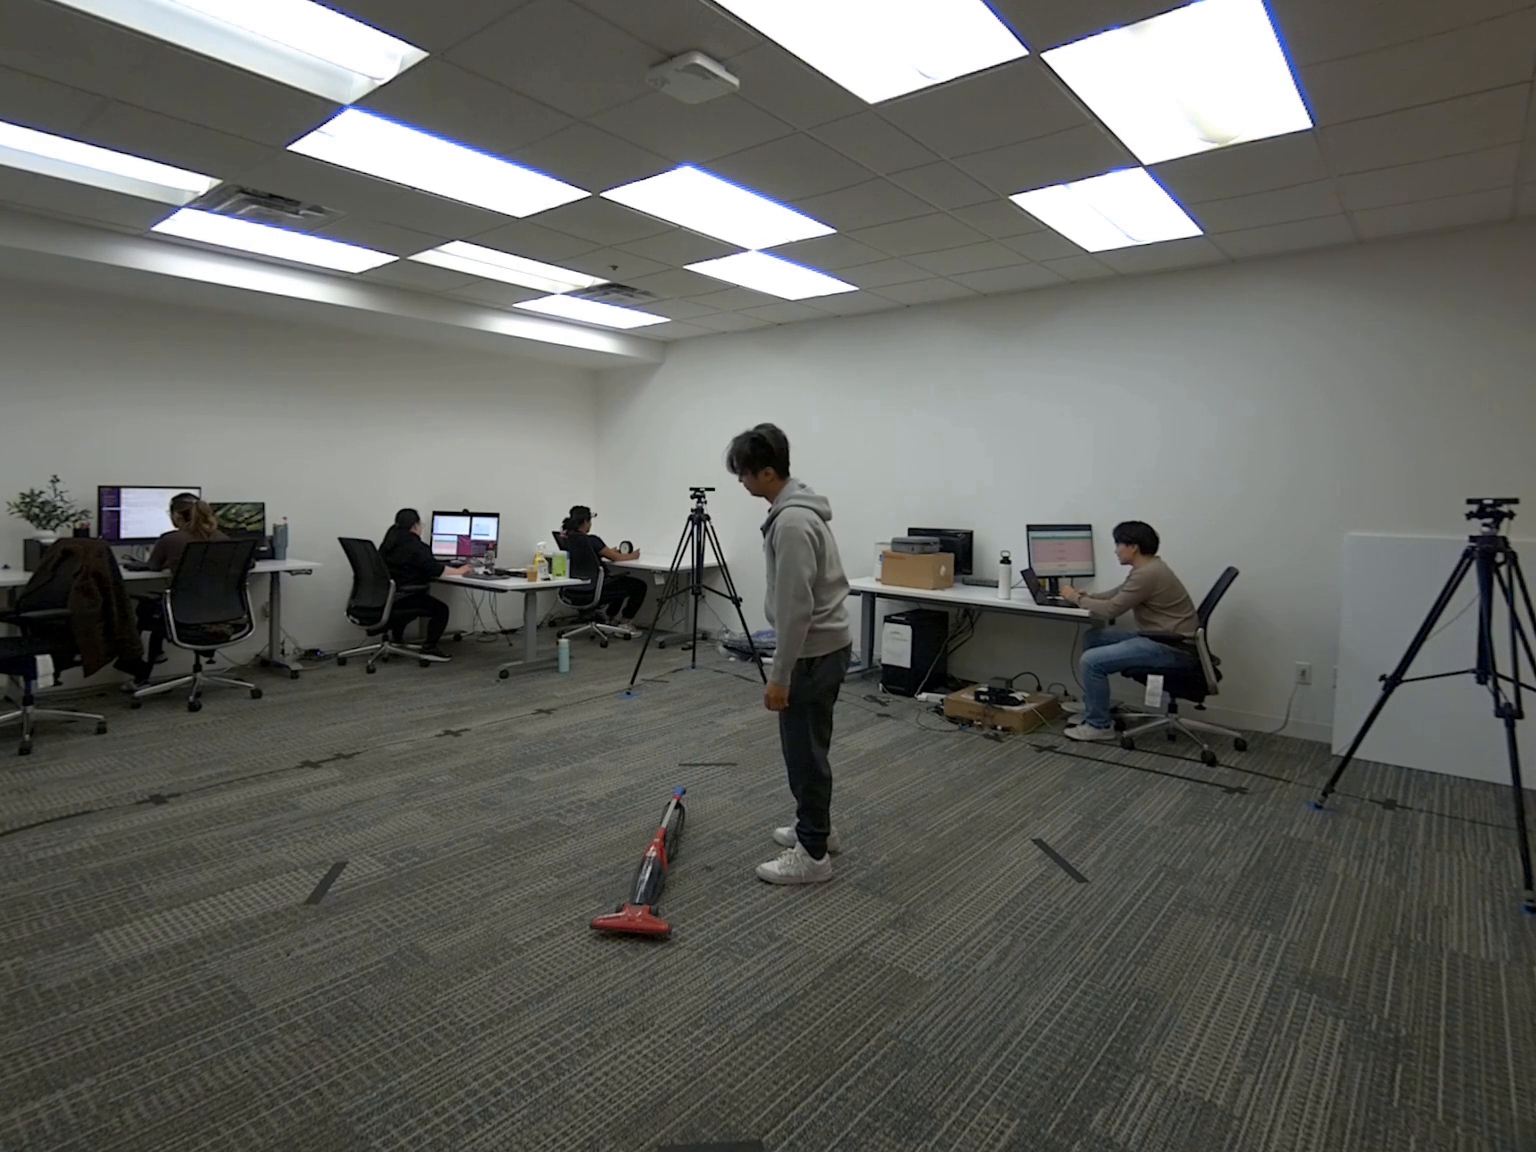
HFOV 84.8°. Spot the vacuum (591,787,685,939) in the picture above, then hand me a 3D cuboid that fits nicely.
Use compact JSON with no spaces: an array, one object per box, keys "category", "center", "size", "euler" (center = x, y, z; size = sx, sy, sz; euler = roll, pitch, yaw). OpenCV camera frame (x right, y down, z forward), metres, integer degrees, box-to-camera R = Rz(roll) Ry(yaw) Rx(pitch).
[{"category":"vacuum","center":[-0.397,0.992,3.180],"size":[0.253,0.143,1.052],"euler":[1,8,1]}]
